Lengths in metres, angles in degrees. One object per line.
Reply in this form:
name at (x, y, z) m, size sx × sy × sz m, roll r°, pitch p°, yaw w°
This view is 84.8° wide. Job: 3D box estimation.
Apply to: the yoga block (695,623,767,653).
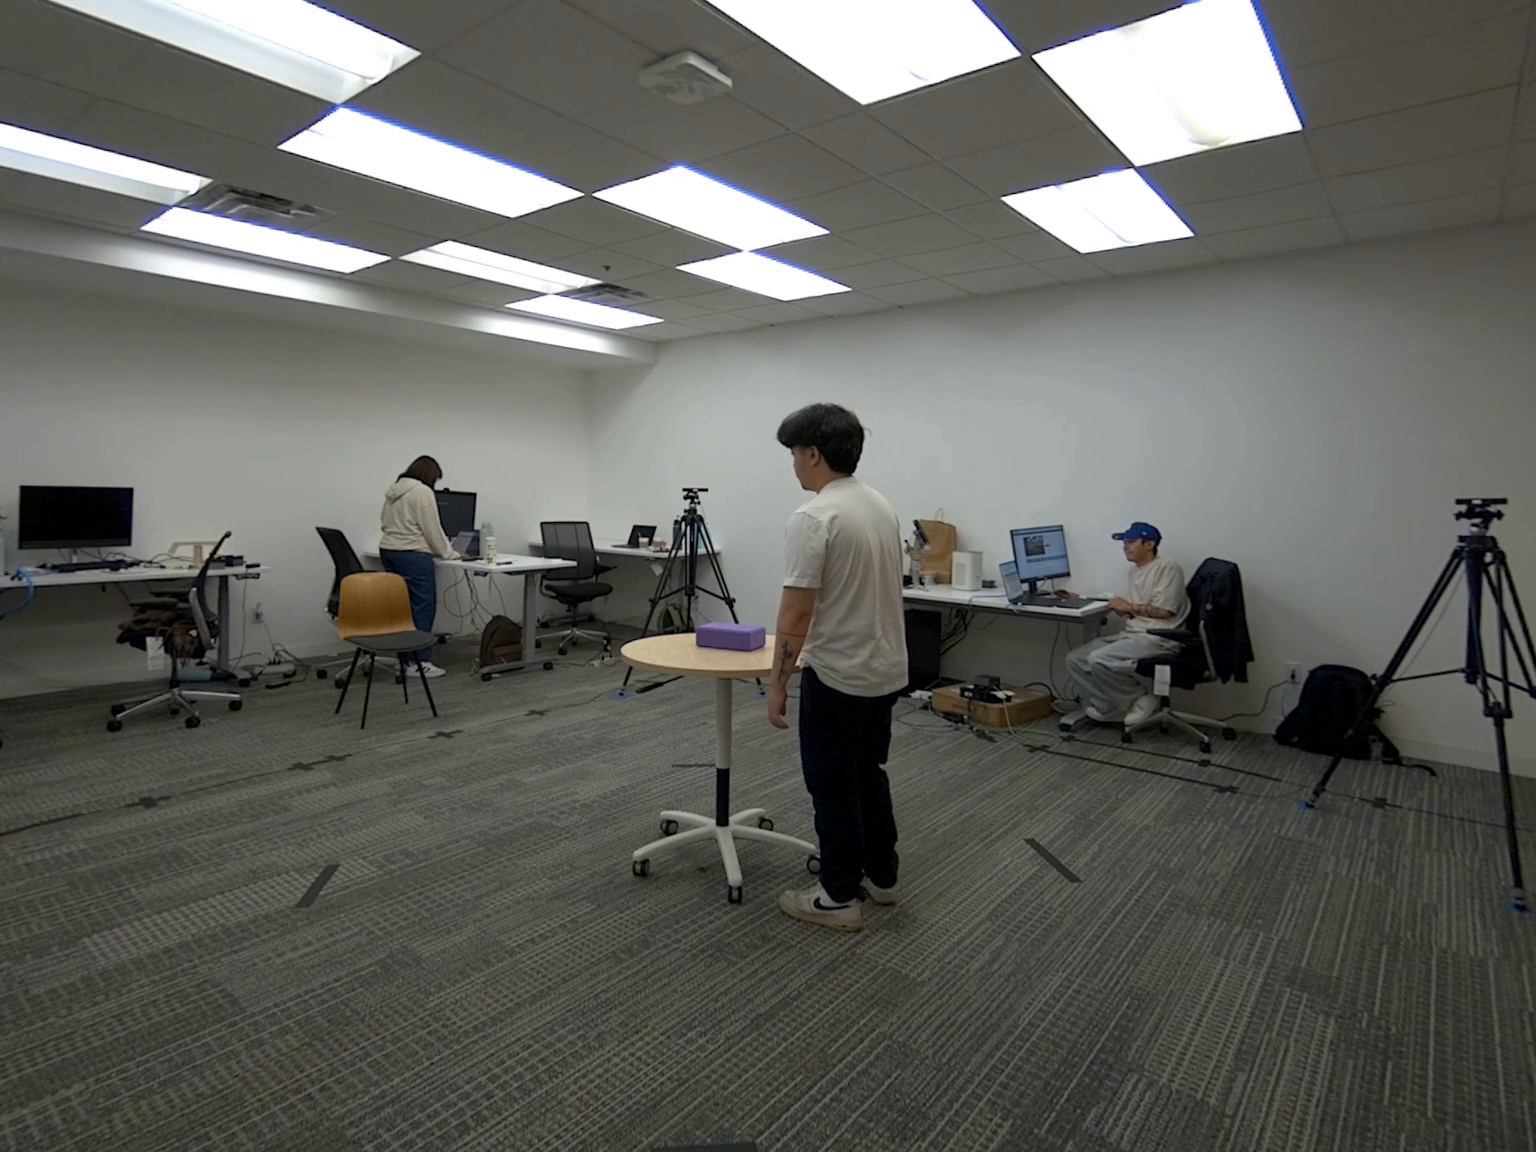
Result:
yoga block at (-0.148, 0.224, 3.200) m, size 0.235 × 0.076 × 0.145 m, roll 3°, pitch 5°, yaw 27°
